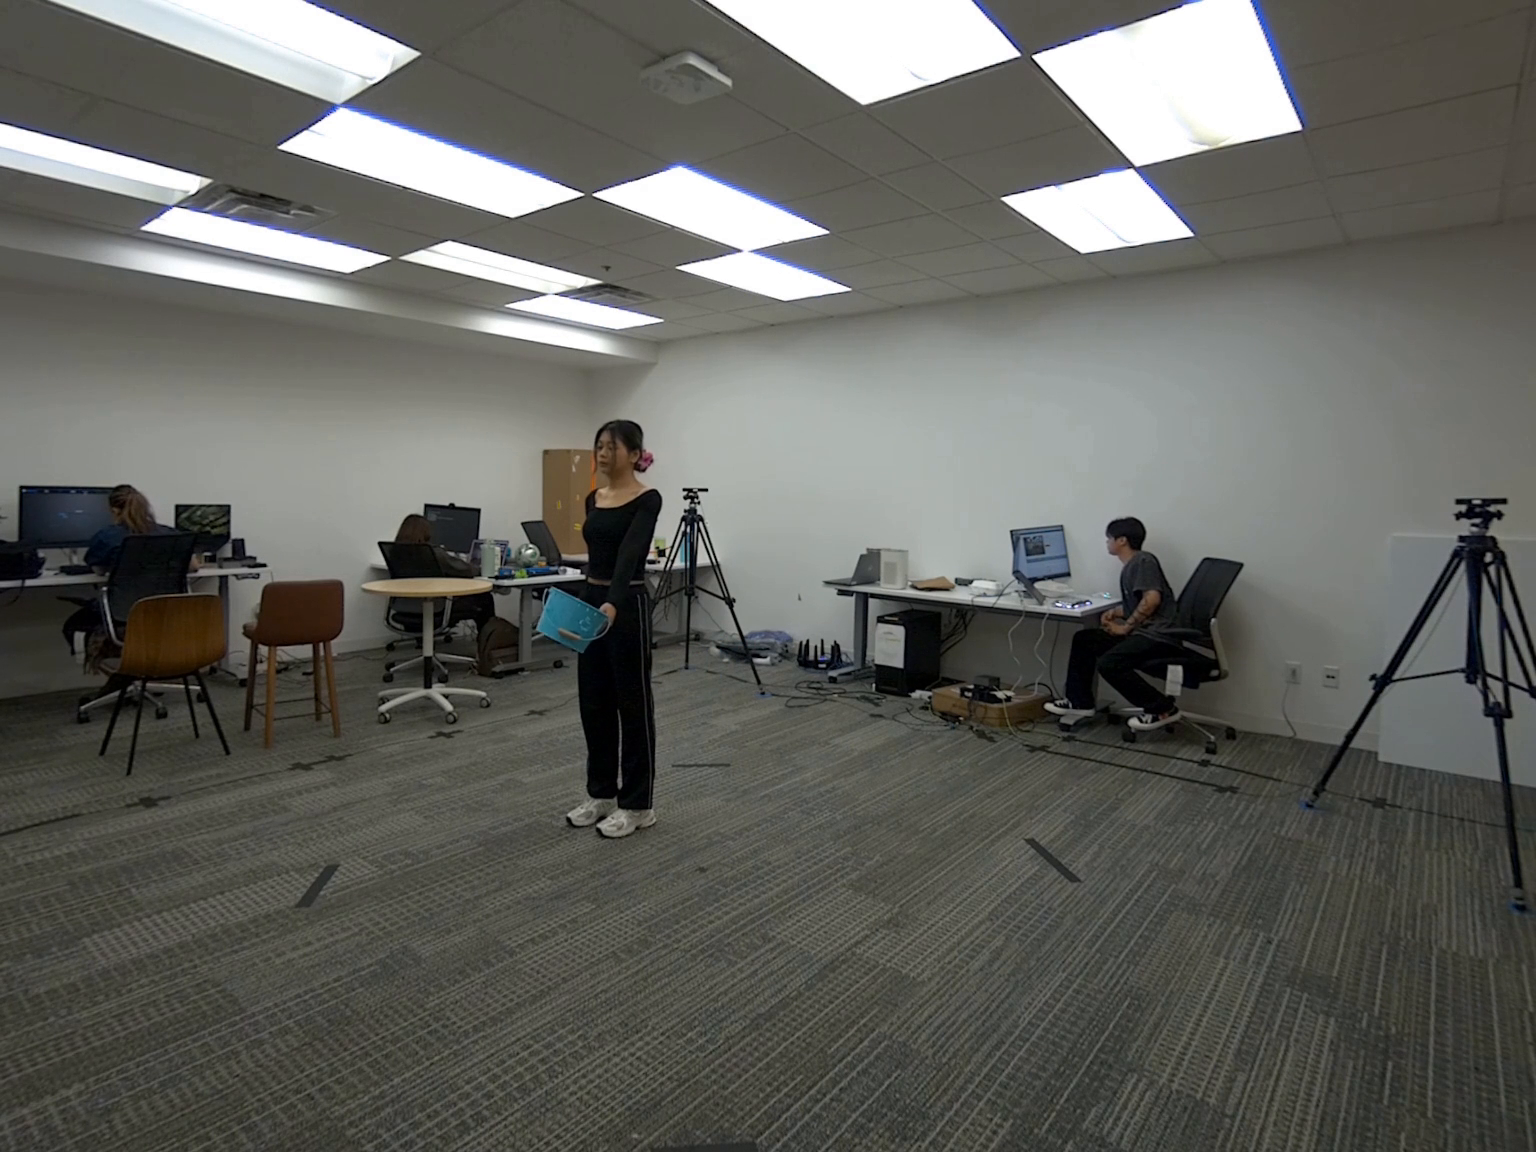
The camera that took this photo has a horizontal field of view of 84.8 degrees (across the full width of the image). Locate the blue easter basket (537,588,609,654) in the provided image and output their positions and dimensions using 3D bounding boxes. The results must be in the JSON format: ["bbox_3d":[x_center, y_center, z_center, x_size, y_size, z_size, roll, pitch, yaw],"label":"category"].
[{"bbox_3d":[-0.689,0.158,2.927,0.245,0.156,0.241,27,-10,3],"label":"blue easter basket"}]
